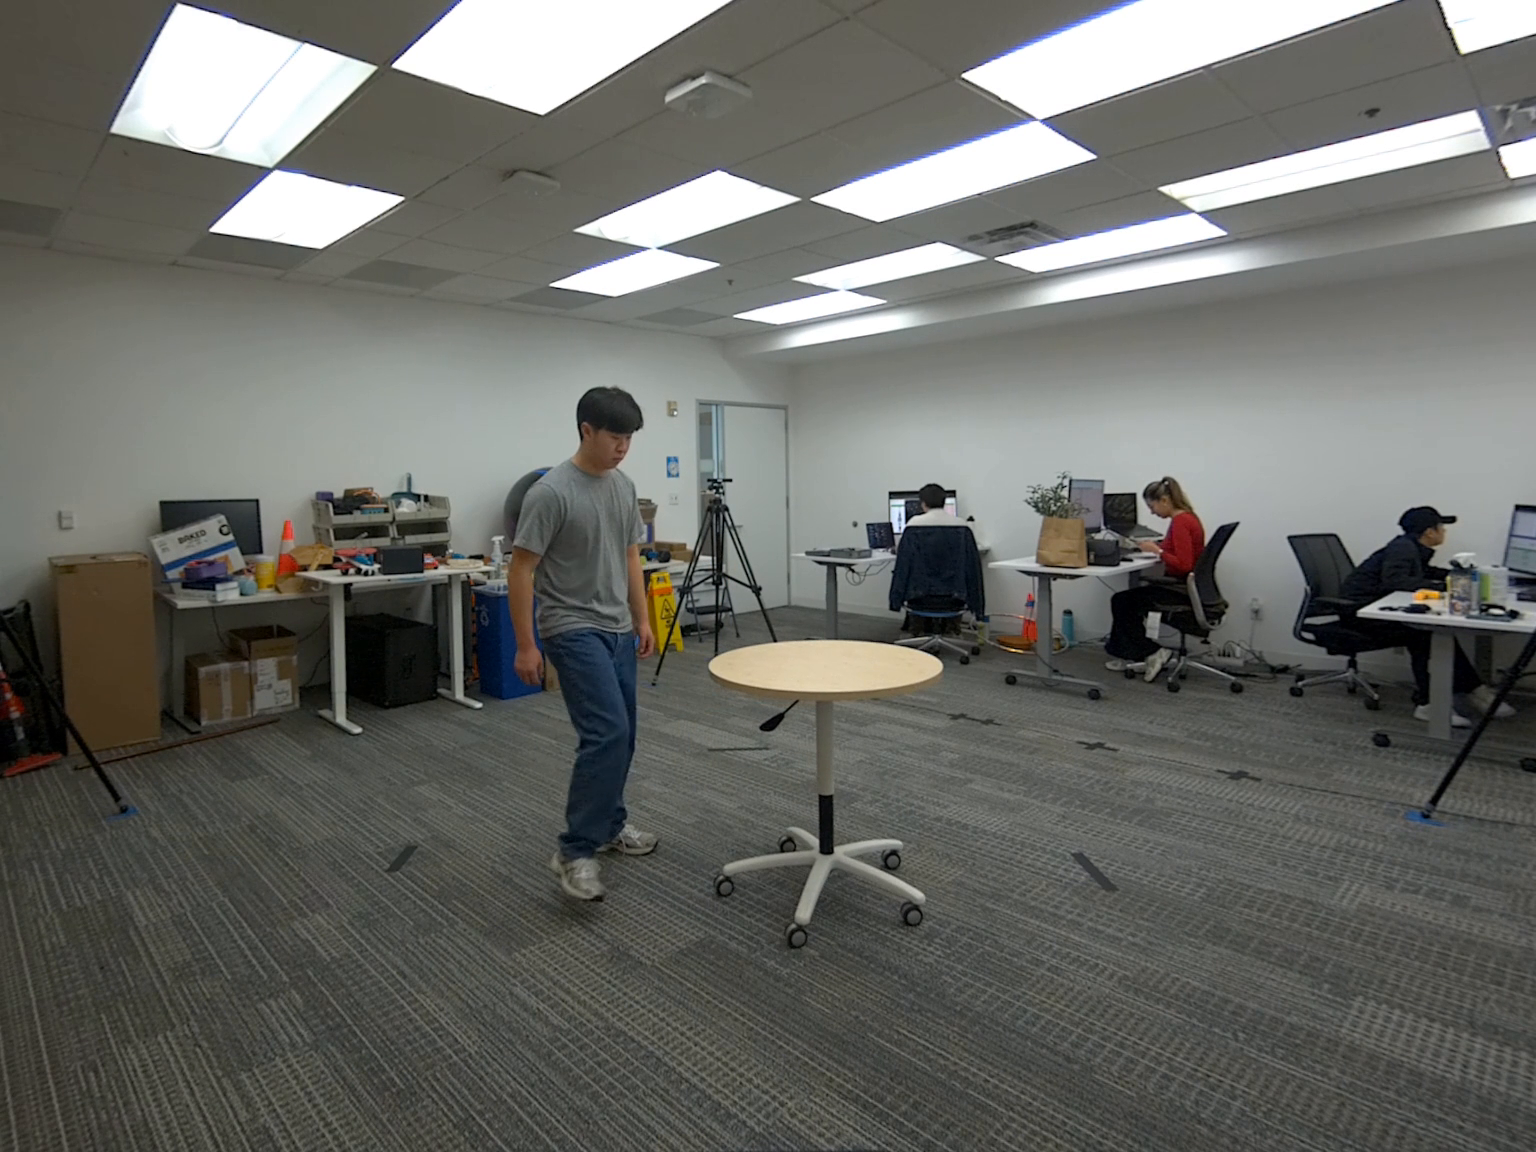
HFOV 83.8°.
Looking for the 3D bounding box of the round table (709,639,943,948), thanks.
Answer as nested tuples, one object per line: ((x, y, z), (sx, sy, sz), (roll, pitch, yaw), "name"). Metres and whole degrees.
((0.186, 0.679, 2.853), (0.763, 0.790, 0.768), (-1, 5, -2), "round table")
